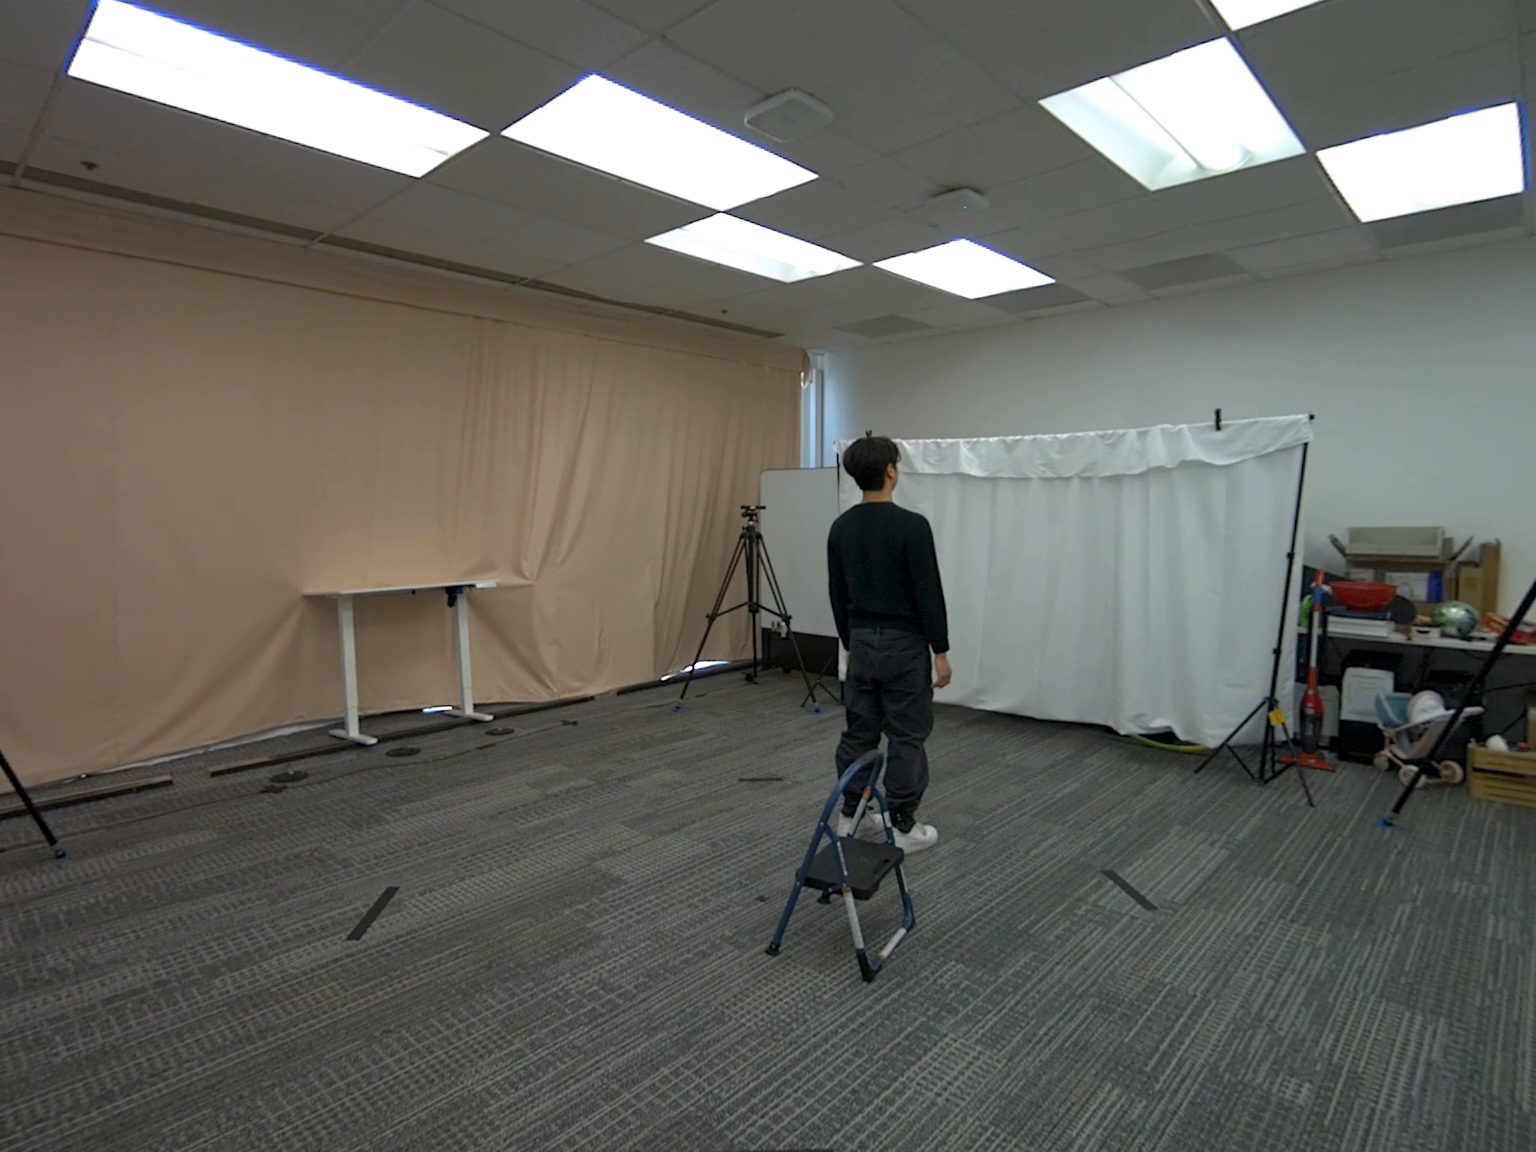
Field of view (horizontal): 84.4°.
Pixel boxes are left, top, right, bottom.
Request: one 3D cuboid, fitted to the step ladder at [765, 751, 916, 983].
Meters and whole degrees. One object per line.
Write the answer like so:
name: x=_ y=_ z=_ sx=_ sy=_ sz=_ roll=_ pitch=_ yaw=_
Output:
step ladder: x=0.243 y=0.862 z=2.695 sx=0.359 sy=0.605 sz=0.419 roll=1 pitch=4 yaw=29
